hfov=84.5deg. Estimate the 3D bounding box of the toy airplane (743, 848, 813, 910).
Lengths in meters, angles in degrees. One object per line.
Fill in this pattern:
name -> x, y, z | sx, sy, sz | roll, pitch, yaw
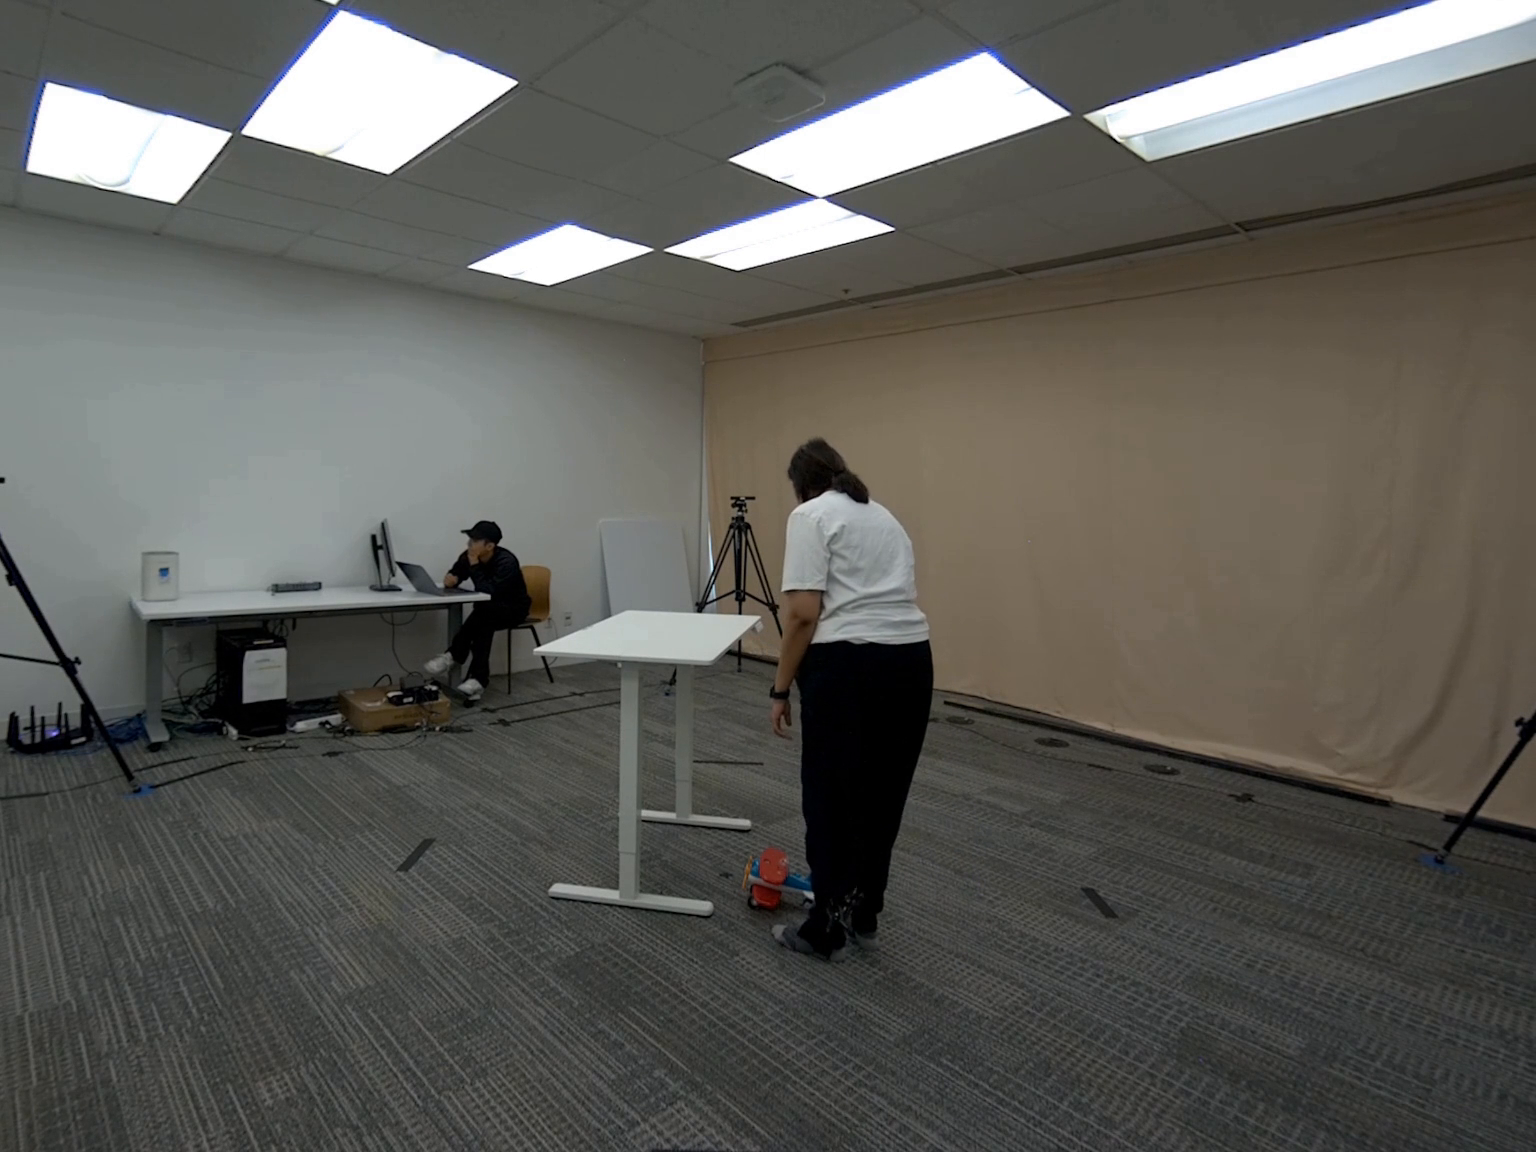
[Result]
toy airplane -> 0.040, 1.052, 2.904 | 0.255, 0.156, 0.256 | -2, 7, -25
